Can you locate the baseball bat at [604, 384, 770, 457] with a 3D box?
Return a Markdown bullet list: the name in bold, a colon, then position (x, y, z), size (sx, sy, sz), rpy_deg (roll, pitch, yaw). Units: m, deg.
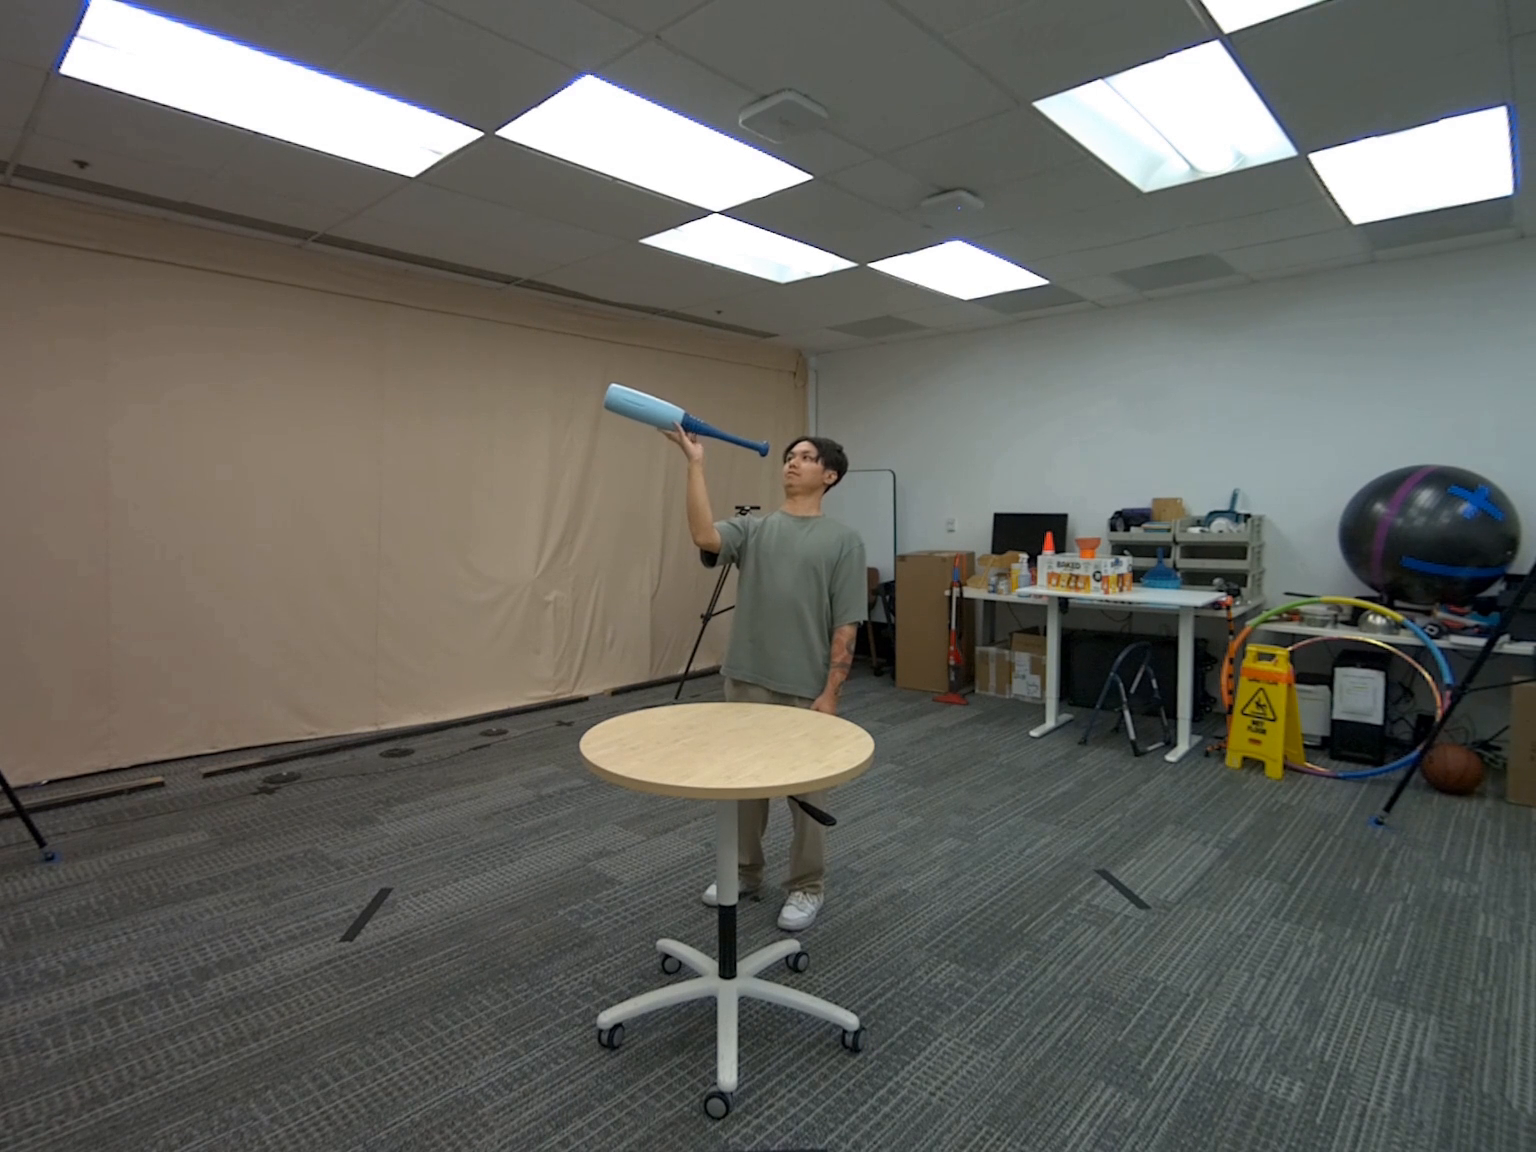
- **baseball bat**: position (-0.252, -0.479, 2.662), size (0.539, 0.089, 0.089), rpy_deg (18, 2, -5)
